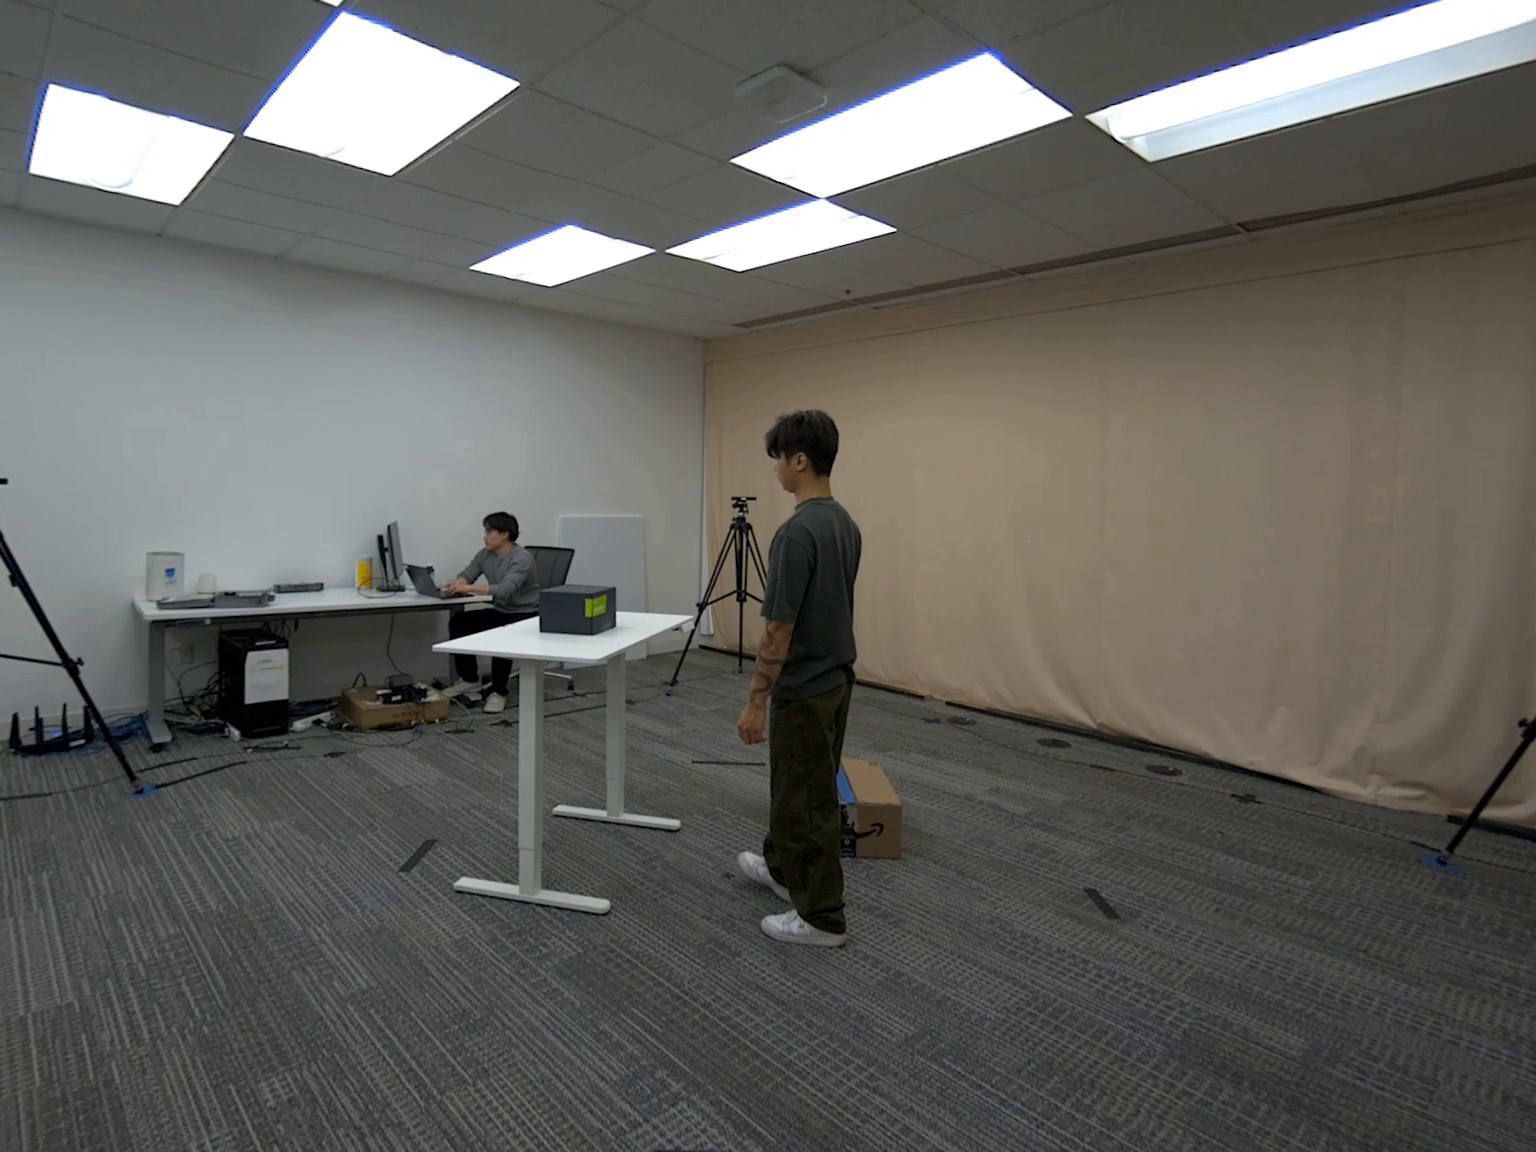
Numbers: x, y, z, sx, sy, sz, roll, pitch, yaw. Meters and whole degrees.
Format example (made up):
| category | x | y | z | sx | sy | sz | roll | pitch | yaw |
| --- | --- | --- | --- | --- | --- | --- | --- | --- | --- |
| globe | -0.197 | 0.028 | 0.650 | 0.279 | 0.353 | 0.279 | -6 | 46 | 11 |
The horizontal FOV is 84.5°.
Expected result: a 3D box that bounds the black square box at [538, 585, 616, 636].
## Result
| category | x | y | z | sx | sy | sz | roll | pitch | yaw |
| --- | --- | --- | --- | --- | --- | --- | --- | --- | --- |
| black square box | -0.723 | 0.123 | 3.183 | 0.220 | 0.155 | 0.226 | 2 | 6 | 14 |
